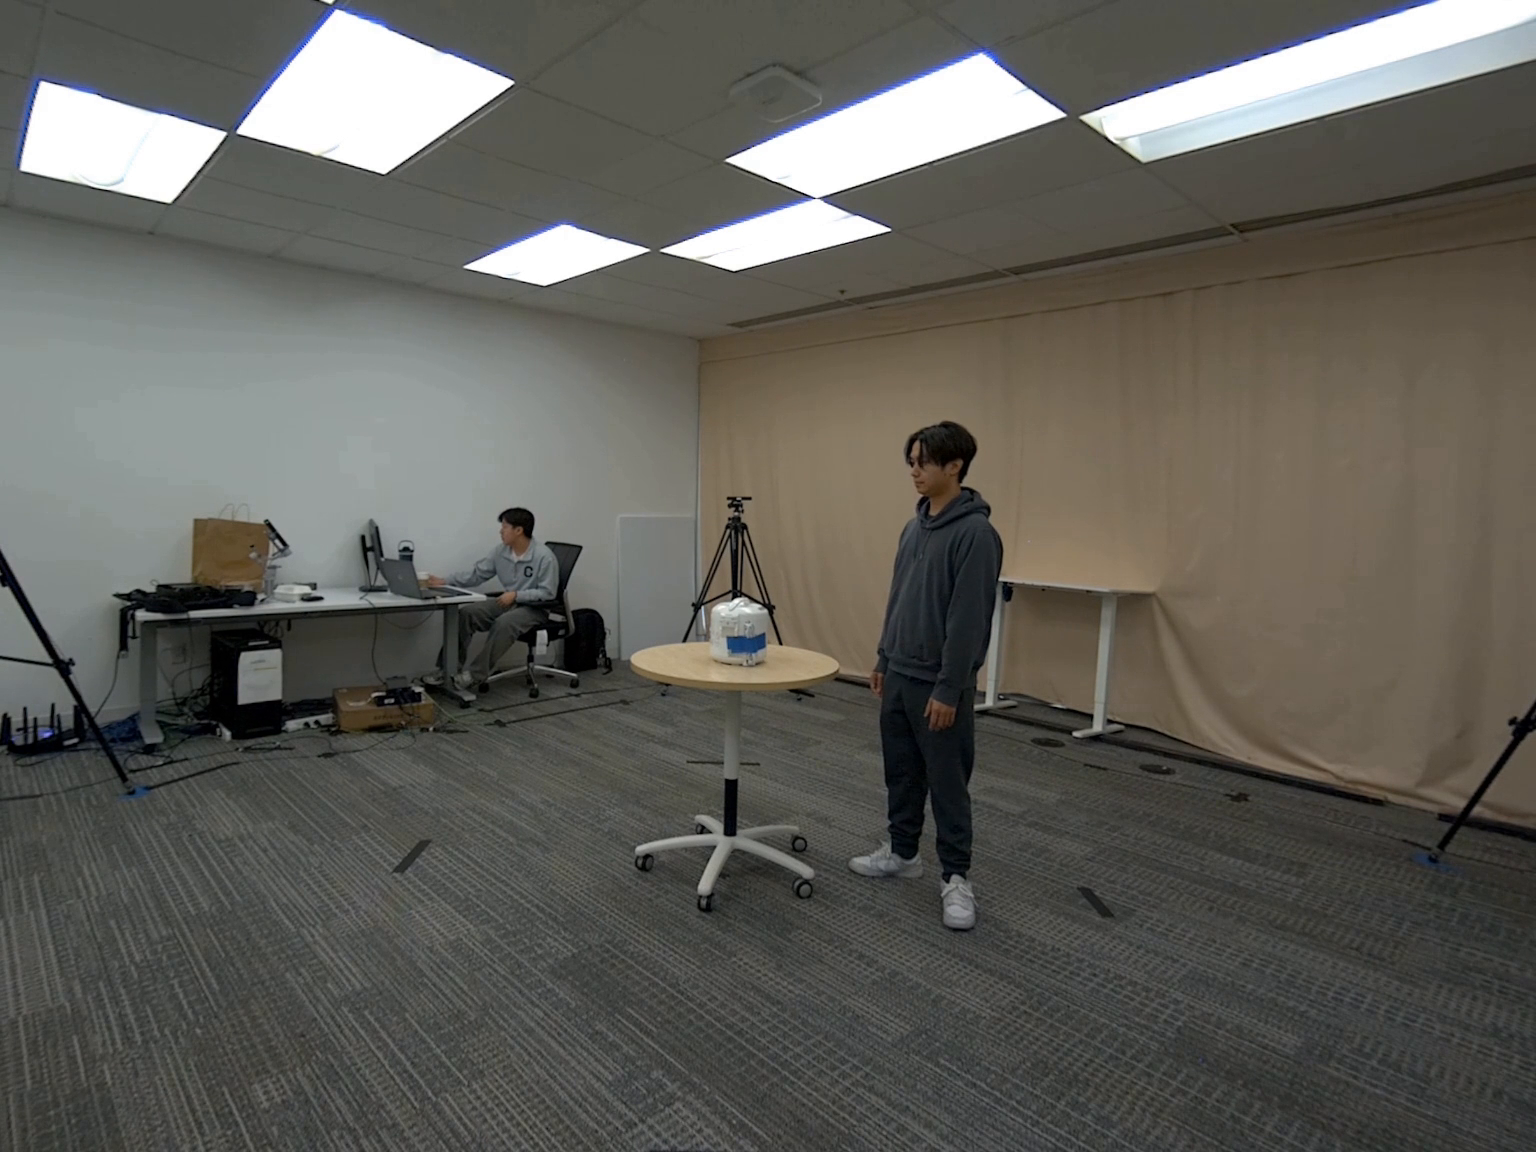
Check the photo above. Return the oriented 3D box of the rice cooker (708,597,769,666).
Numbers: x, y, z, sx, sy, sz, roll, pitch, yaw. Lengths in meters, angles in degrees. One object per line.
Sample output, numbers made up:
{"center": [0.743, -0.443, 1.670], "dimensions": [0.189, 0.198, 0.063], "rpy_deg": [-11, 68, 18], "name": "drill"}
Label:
{"center": [-0.109, 0.194, 3.073], "dimensions": [0.221, 0.232, 0.217], "rpy_deg": [4, 5, 22], "name": "rice cooker"}
